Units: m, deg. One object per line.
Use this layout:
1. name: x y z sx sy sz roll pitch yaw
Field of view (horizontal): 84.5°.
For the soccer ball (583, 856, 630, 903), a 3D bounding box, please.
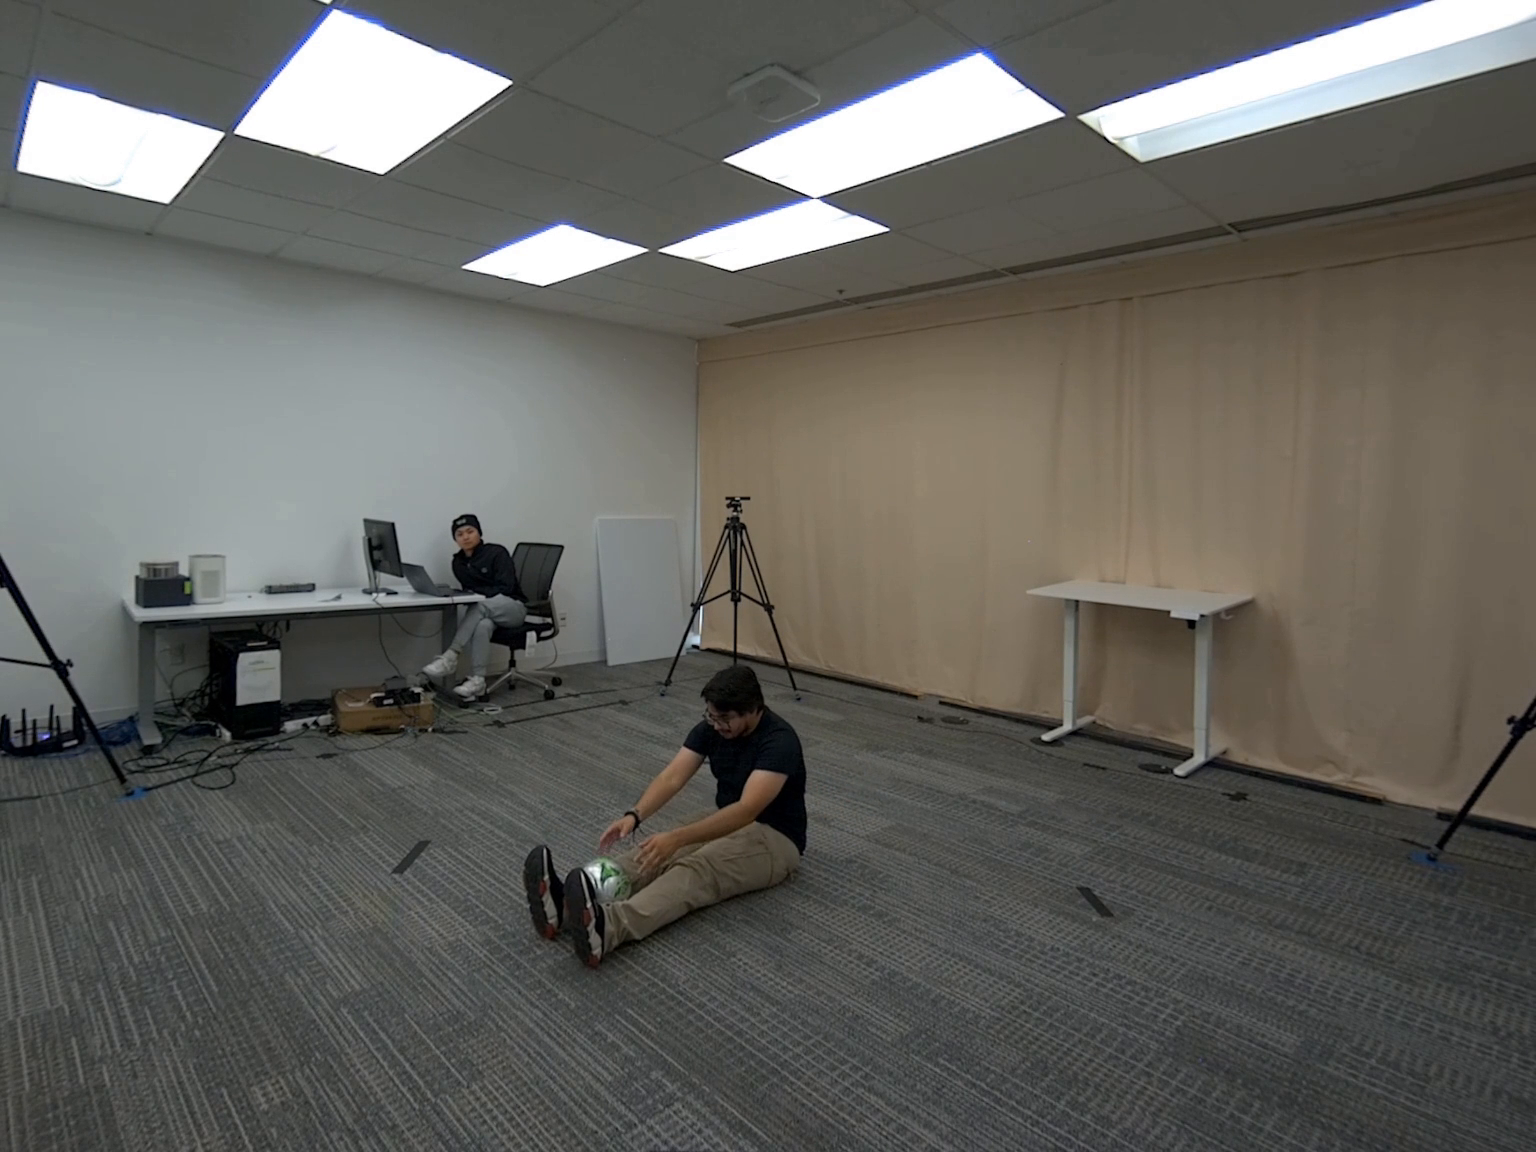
1. soccer ball: -0.549 0.998 2.663 0.187 0.187 0.188 1 5 -1
